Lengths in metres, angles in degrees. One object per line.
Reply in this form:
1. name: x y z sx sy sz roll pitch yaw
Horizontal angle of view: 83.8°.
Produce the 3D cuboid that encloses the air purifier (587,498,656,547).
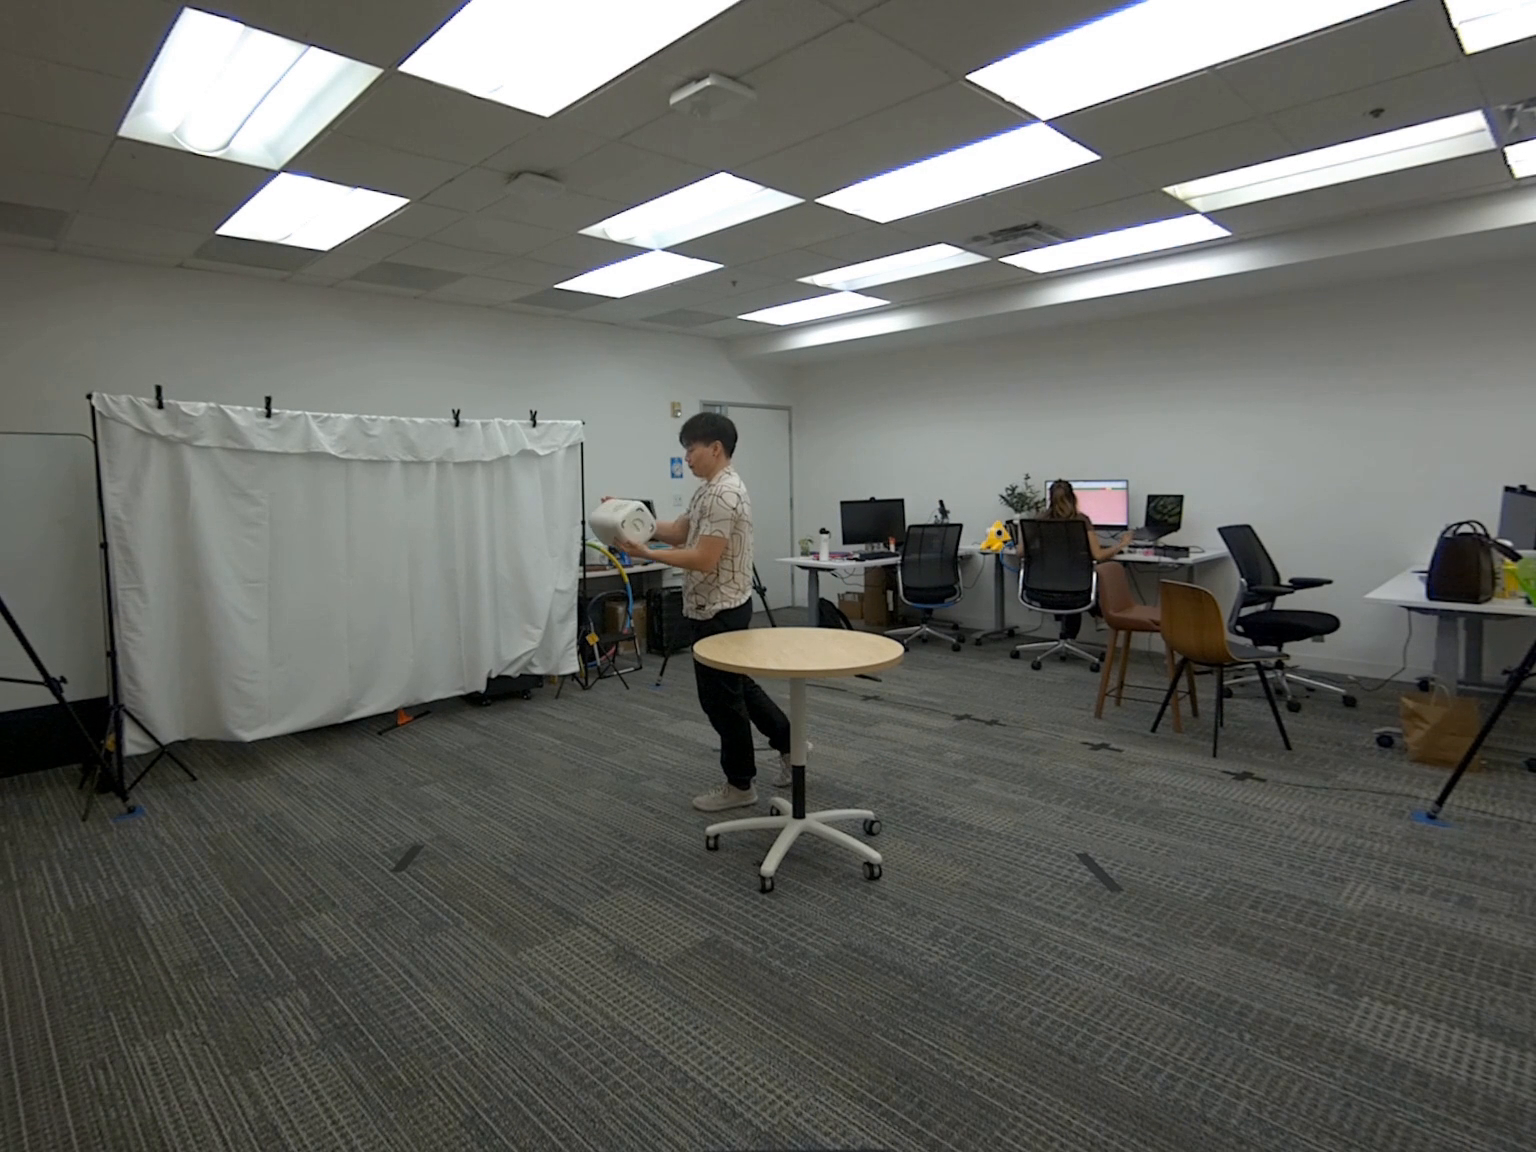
1. air purifier: -0.597 -0.215 3.534 0.171 0.167 0.273 -43 27 -23
